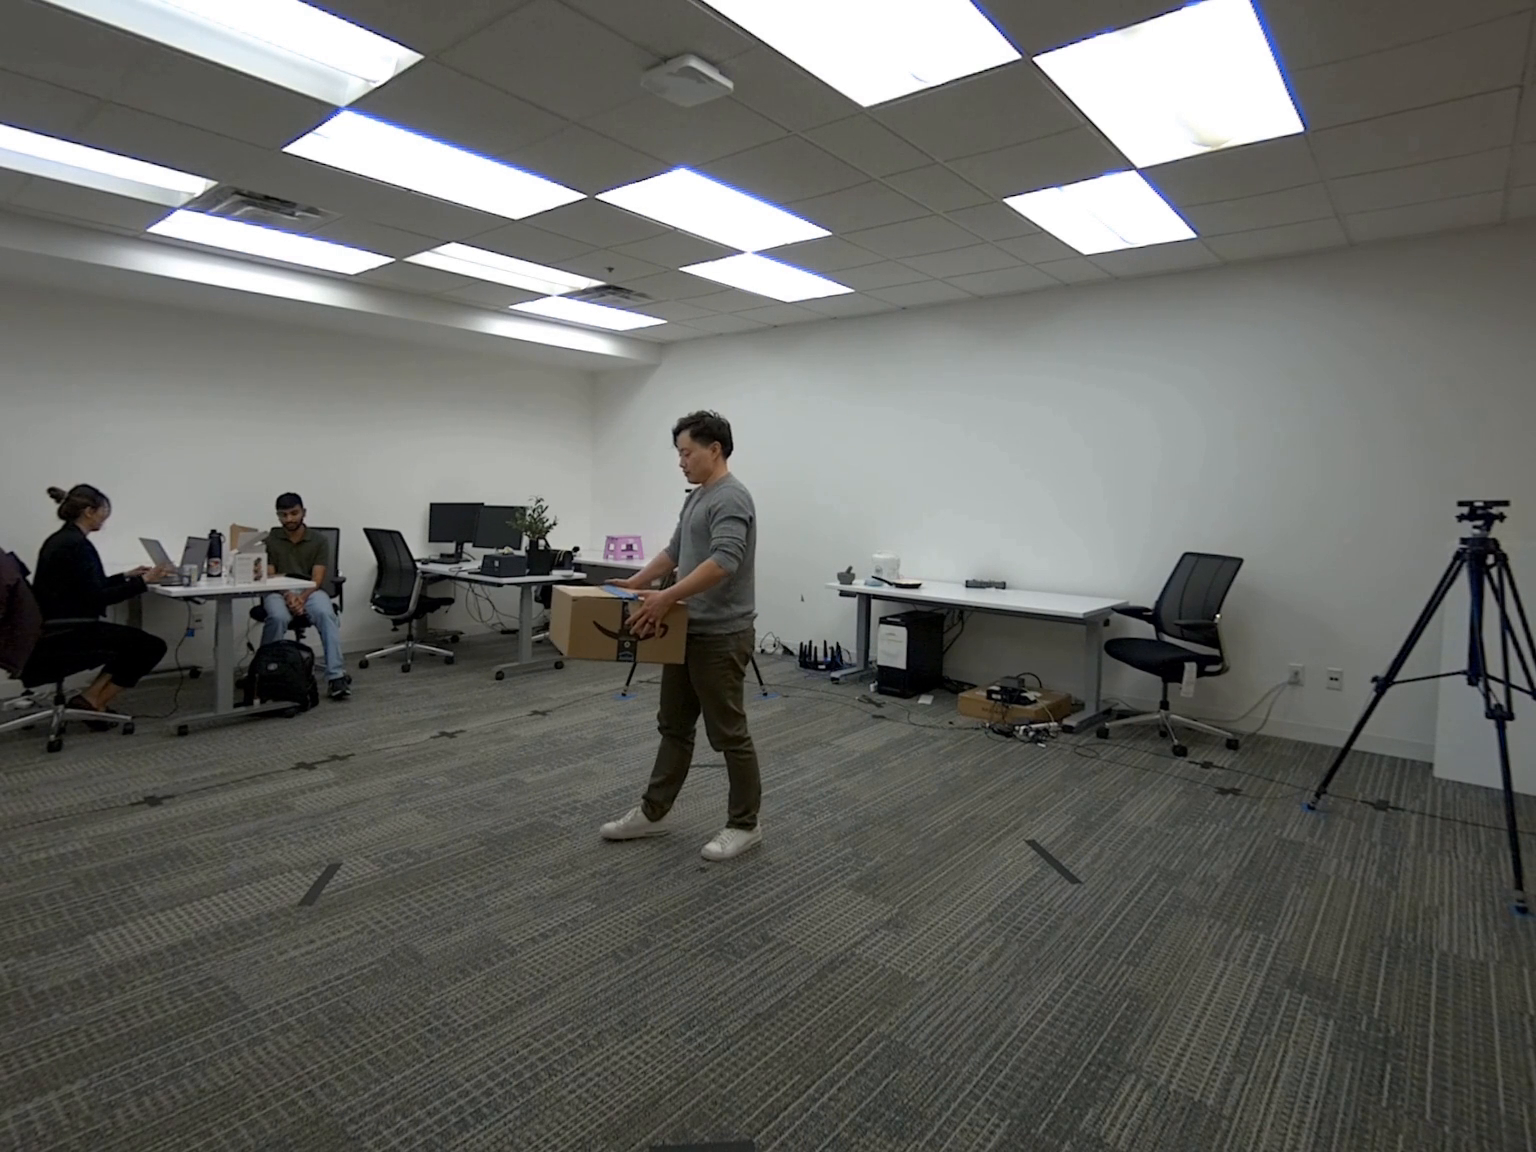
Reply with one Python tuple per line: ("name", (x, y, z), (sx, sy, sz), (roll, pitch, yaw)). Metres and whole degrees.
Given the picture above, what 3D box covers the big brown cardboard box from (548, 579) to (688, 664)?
("big brown cardboard box", (-0.591, 0.160, 3.209), (0.409, 0.233, 0.601), (4, 2, -19))
